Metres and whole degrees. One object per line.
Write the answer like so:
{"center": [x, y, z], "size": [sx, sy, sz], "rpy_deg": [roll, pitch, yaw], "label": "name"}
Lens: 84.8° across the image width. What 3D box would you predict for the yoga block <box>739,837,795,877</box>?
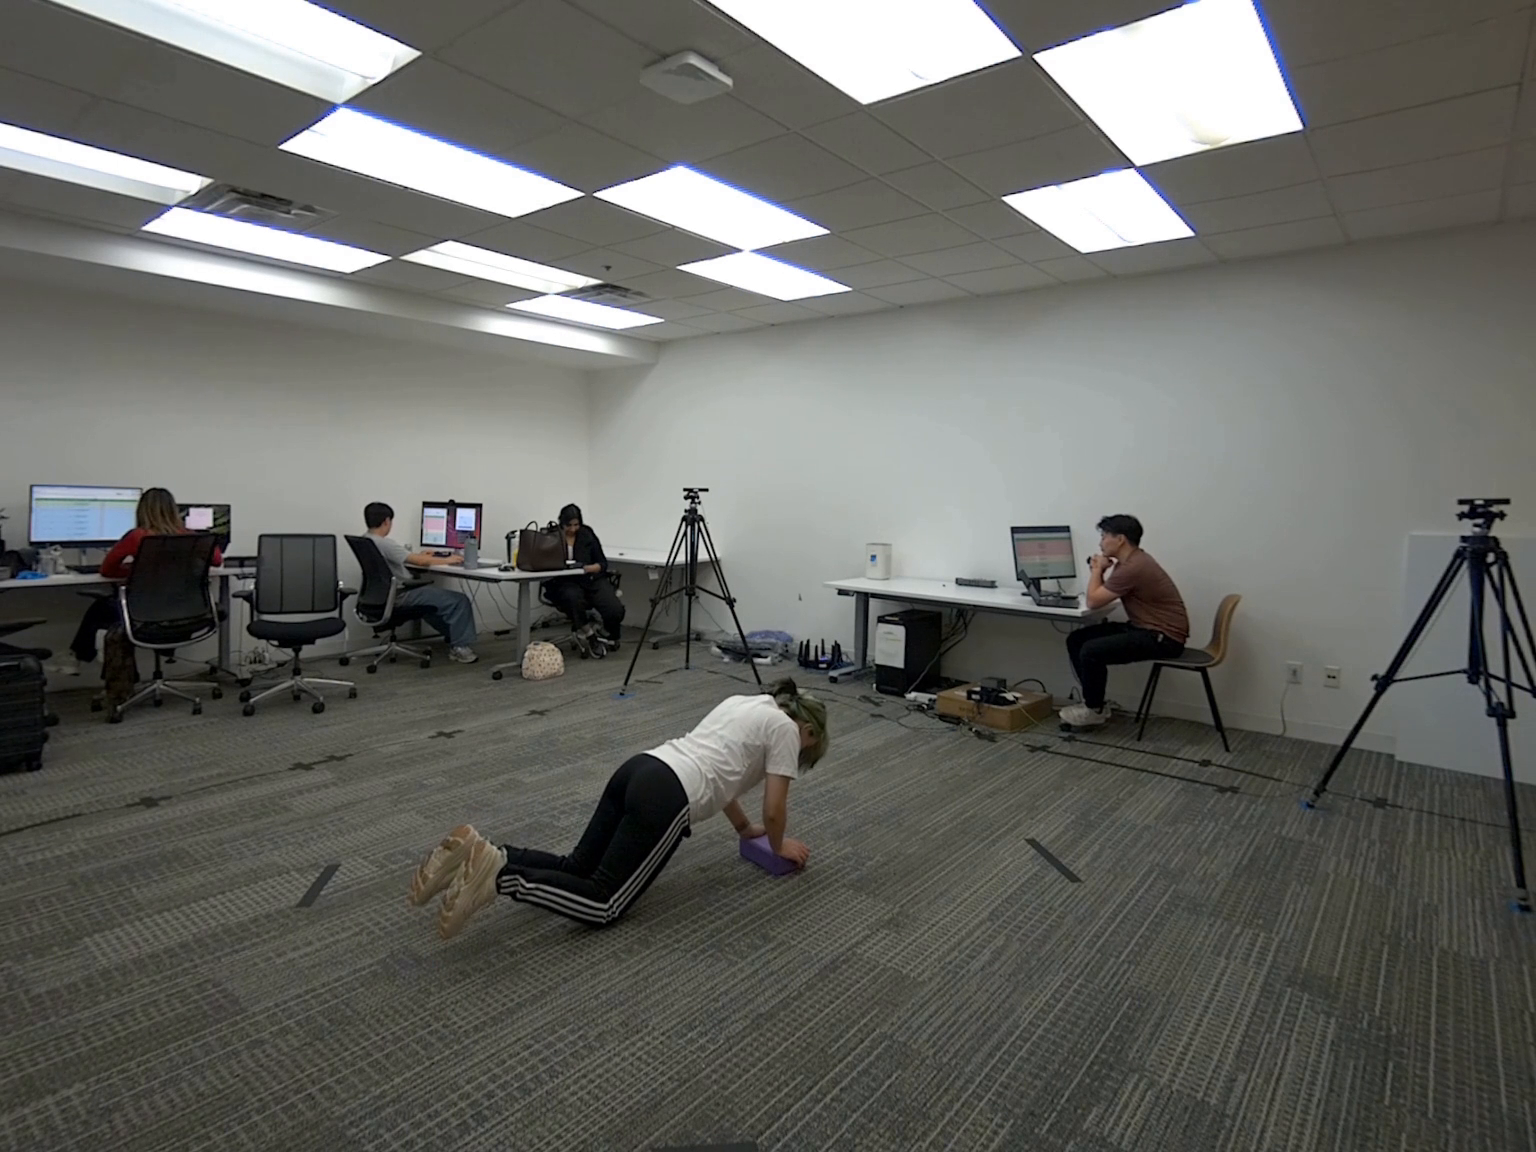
{"center": [0.007, 1.030, 3.190], "size": [0.144, 0.076, 0.237], "rpy_deg": [-1, 5, -38], "label": "yoga block"}
